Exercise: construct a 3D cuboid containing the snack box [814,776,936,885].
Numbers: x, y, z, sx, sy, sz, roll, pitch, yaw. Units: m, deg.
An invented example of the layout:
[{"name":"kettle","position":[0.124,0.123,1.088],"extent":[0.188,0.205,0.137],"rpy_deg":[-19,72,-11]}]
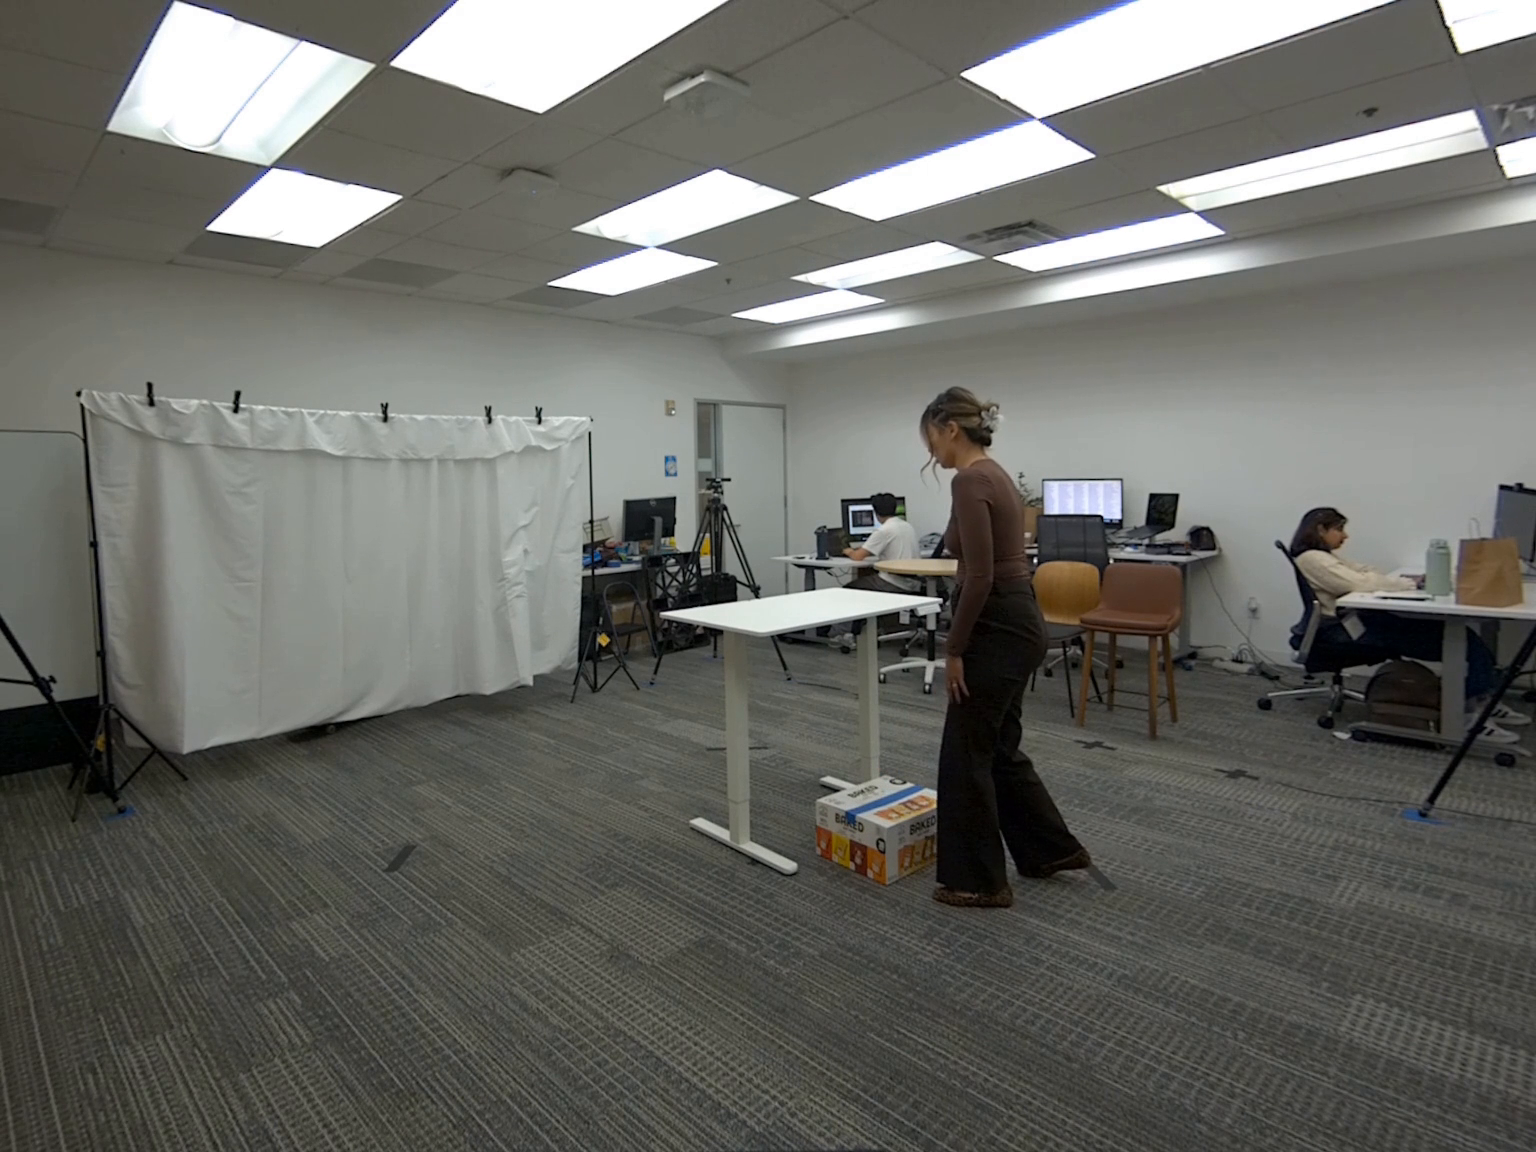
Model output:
[{"name":"snack box","position":[0.440,0.927,3.161],"extent":[0.395,0.205,0.351],"rpy_deg":[-6,8,-40]}]
